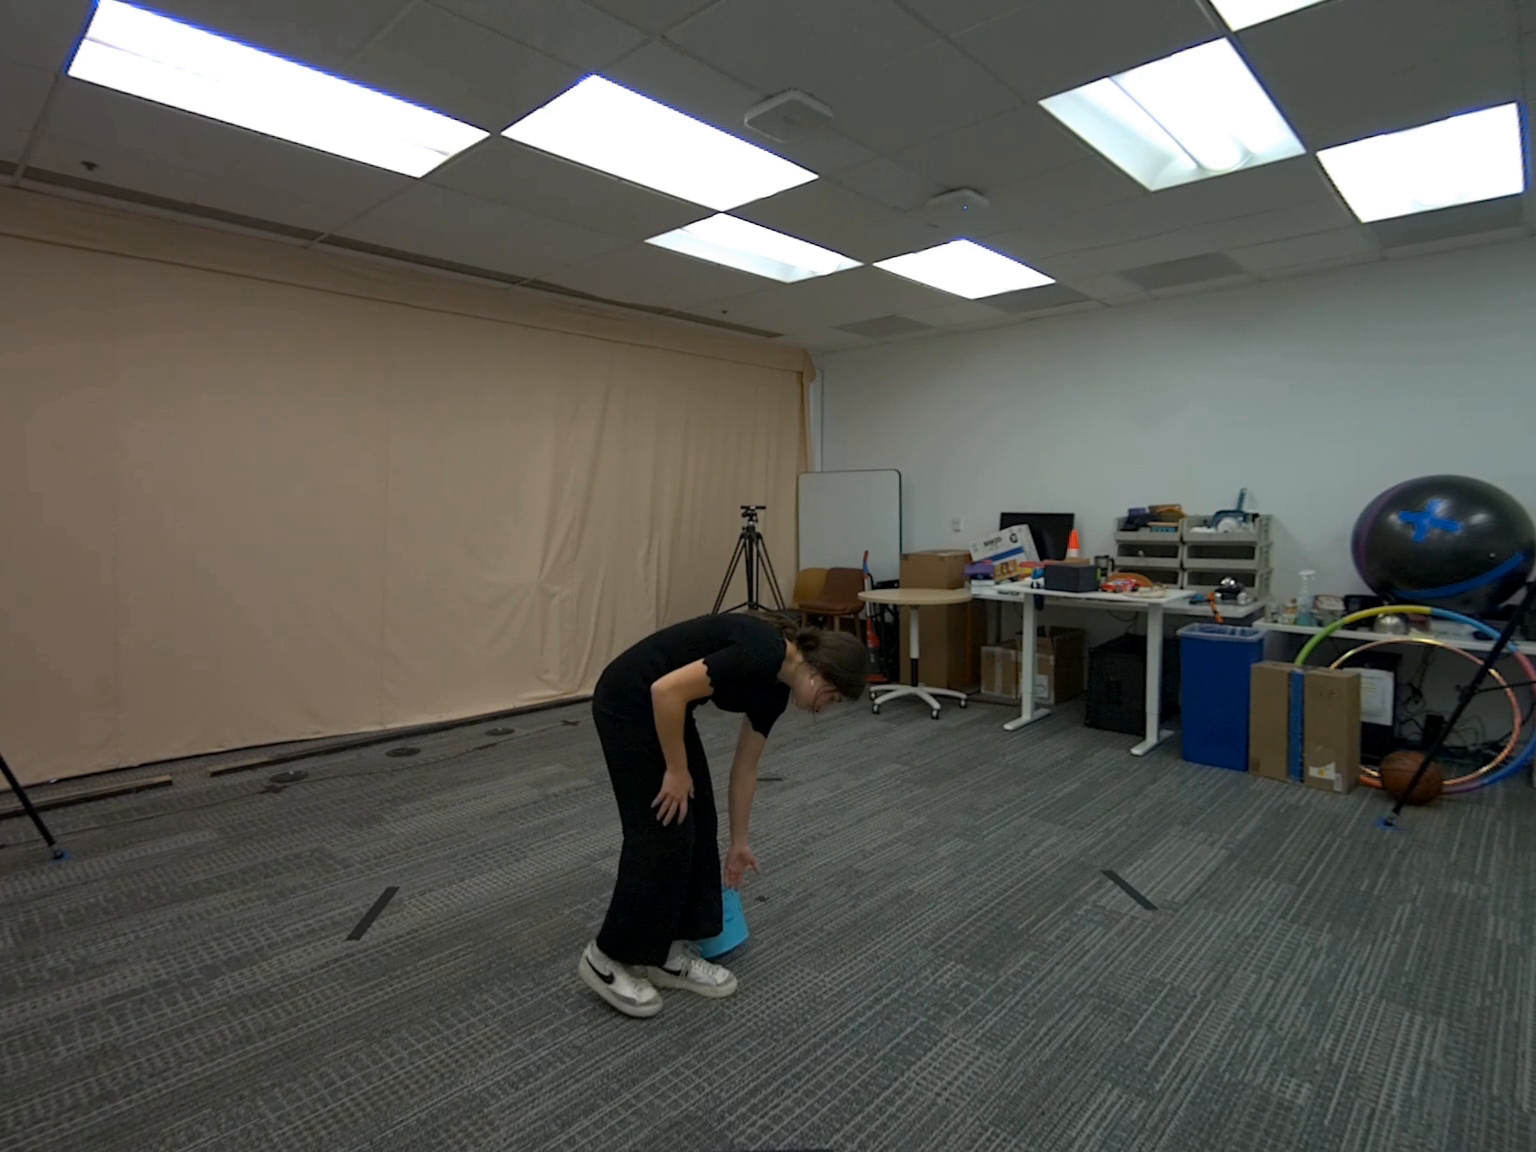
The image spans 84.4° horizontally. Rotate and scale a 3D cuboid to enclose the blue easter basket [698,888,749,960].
[{"bbox_3d":[-0.176,1.071,2.609,0.242,0.157,0.242,-20,-9,-6],"label":"blue easter basket"}]
